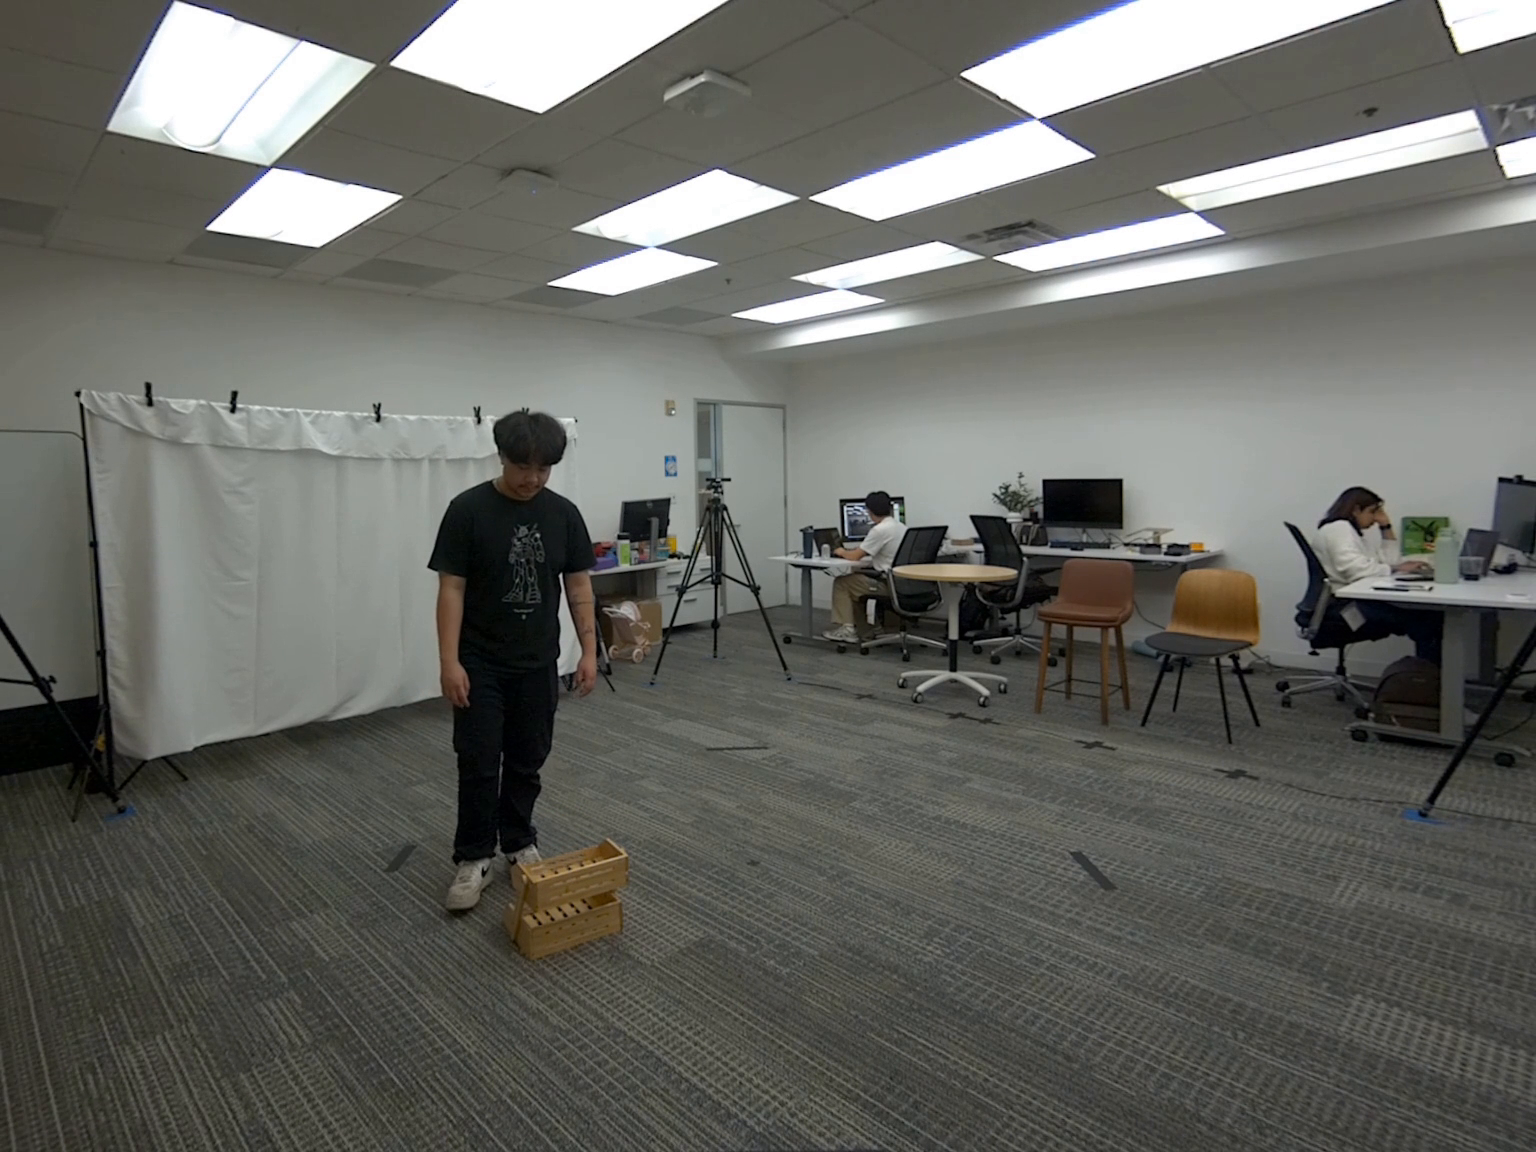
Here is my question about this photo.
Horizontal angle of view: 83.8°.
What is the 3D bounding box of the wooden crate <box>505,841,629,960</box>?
[{"bbox_3d":[-0.630,0.975,2.652,0.316,0.272,0.311,-5,7,-34],"label":"wooden crate"}]
